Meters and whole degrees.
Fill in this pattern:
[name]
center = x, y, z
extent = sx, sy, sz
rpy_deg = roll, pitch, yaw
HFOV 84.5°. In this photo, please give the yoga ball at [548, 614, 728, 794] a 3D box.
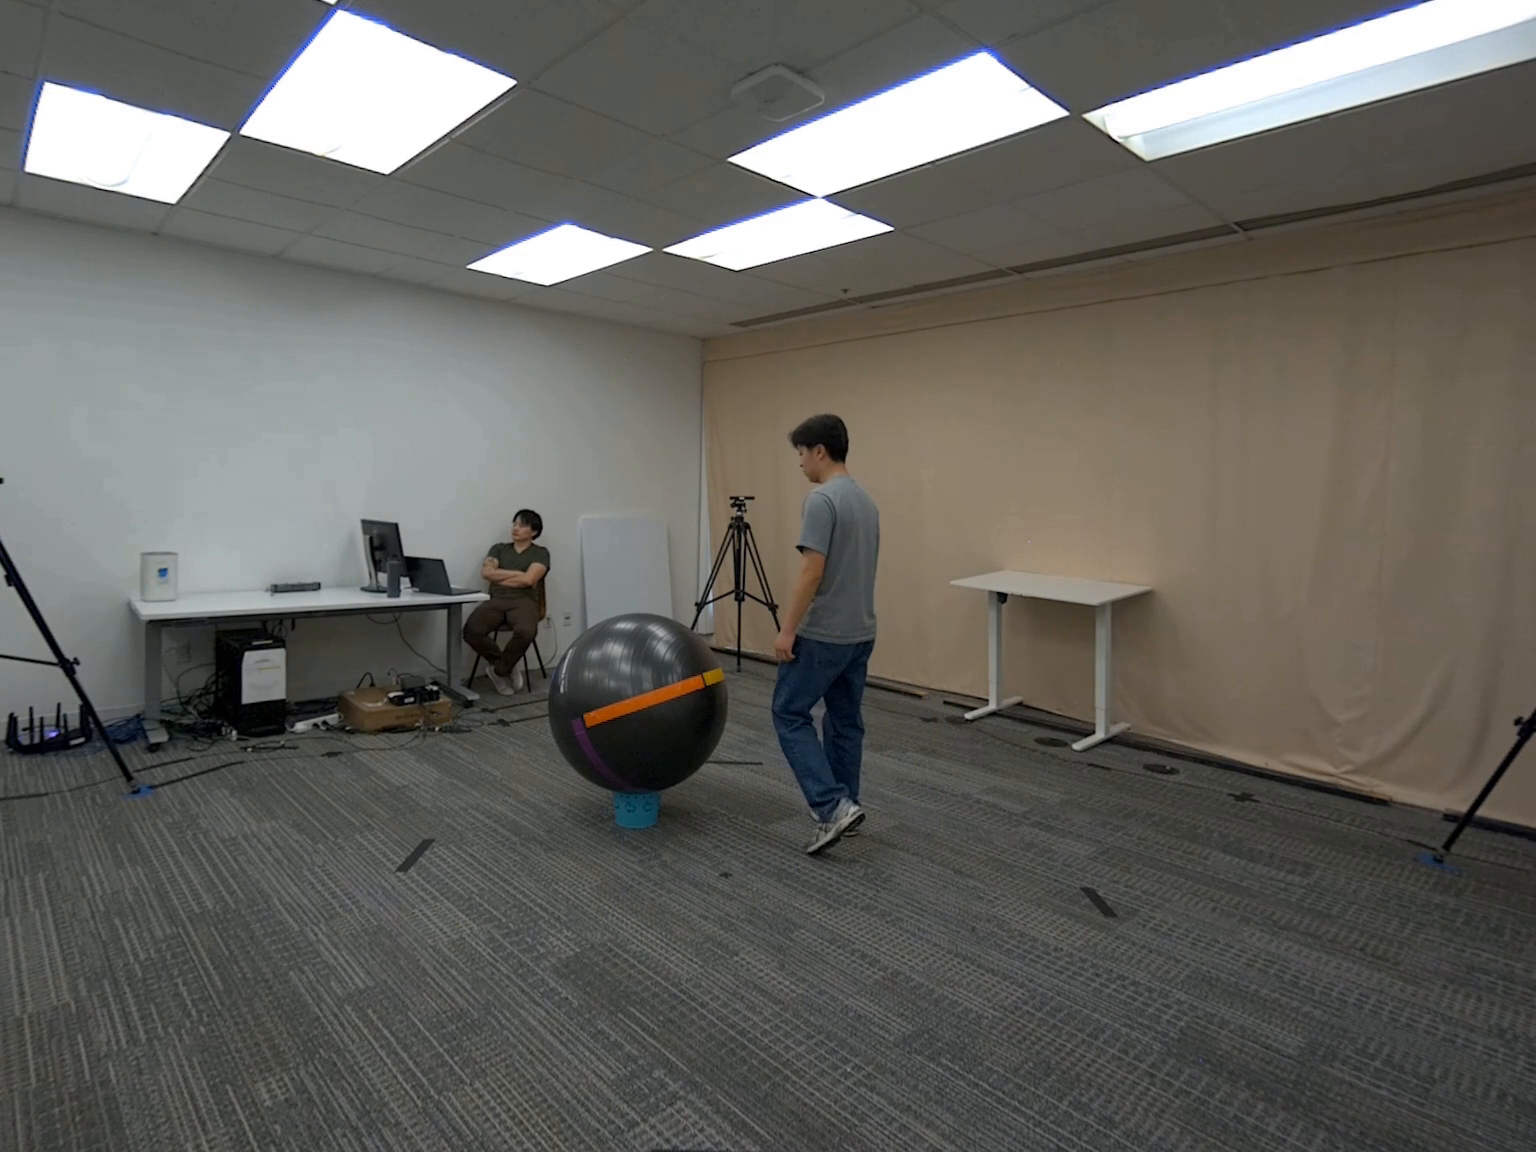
[yoga ball]
center = -0.558, 0.539, 3.591
extent = 0.757, 0.756, 0.761
rpy_deg = 1, 4, -1
